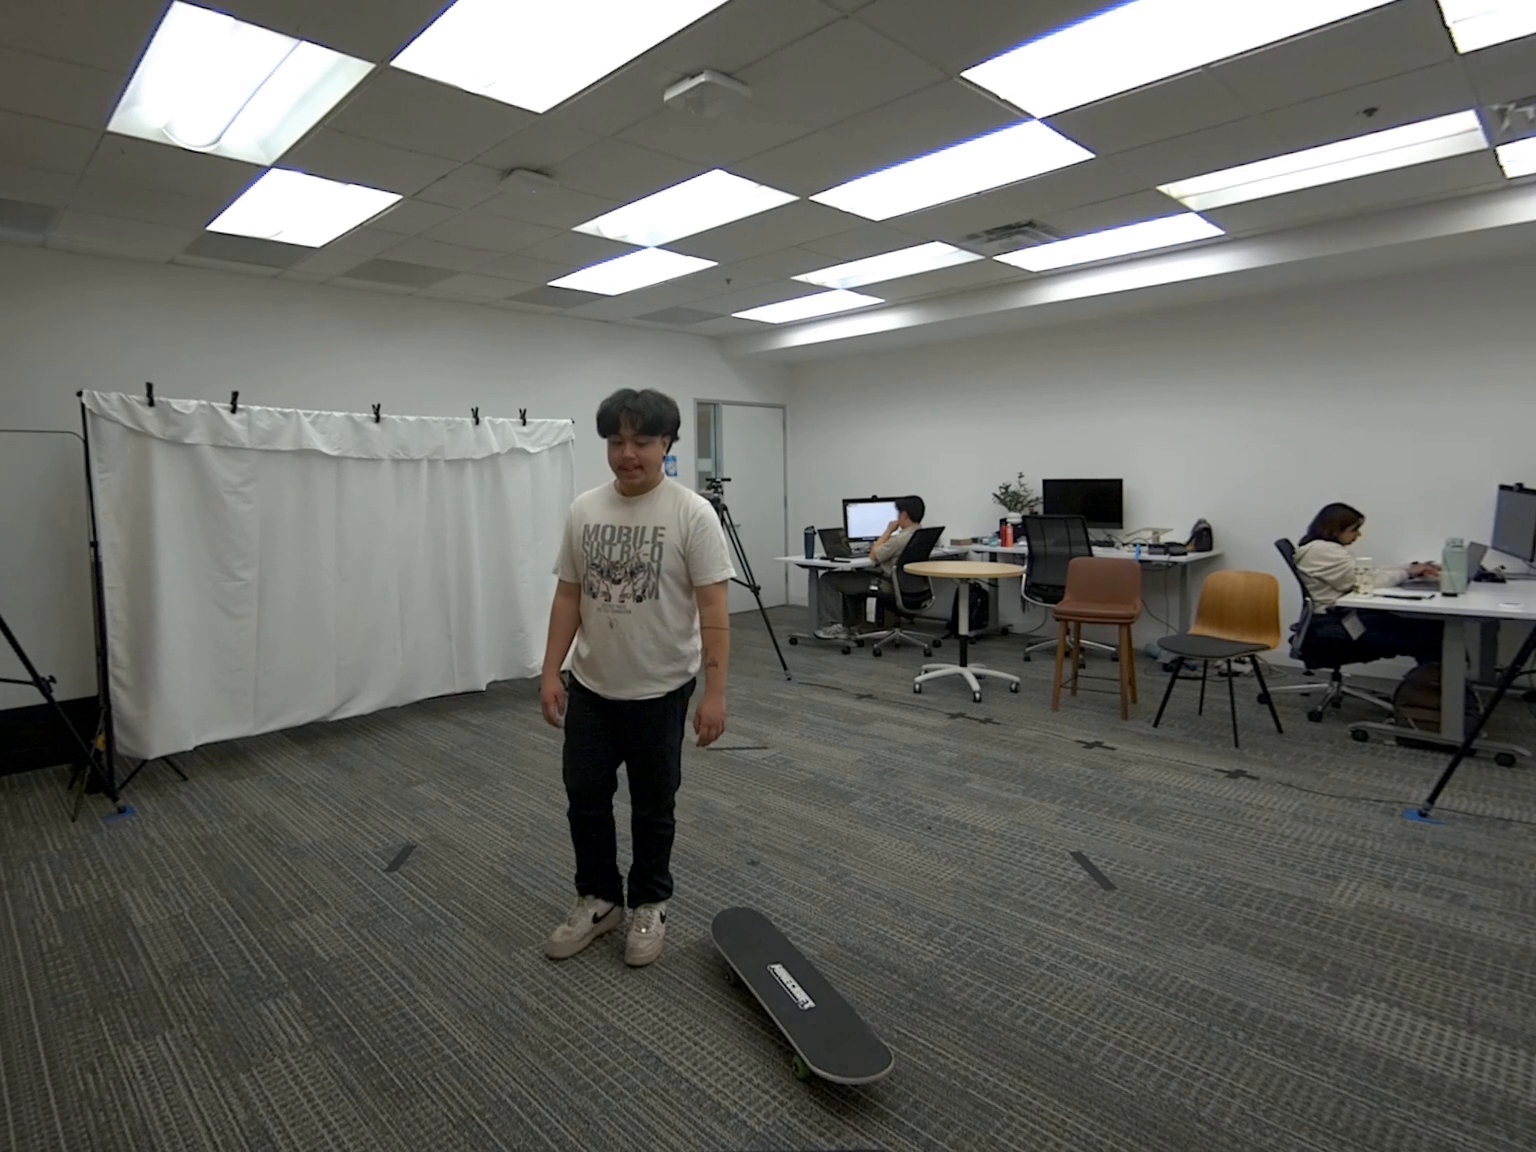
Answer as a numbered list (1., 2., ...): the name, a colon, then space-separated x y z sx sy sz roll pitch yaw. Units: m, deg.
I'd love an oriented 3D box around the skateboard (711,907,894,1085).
1. skateboard: 0.068 1.091 2.209 0.189 0.110 0.805 -4 7 -24
